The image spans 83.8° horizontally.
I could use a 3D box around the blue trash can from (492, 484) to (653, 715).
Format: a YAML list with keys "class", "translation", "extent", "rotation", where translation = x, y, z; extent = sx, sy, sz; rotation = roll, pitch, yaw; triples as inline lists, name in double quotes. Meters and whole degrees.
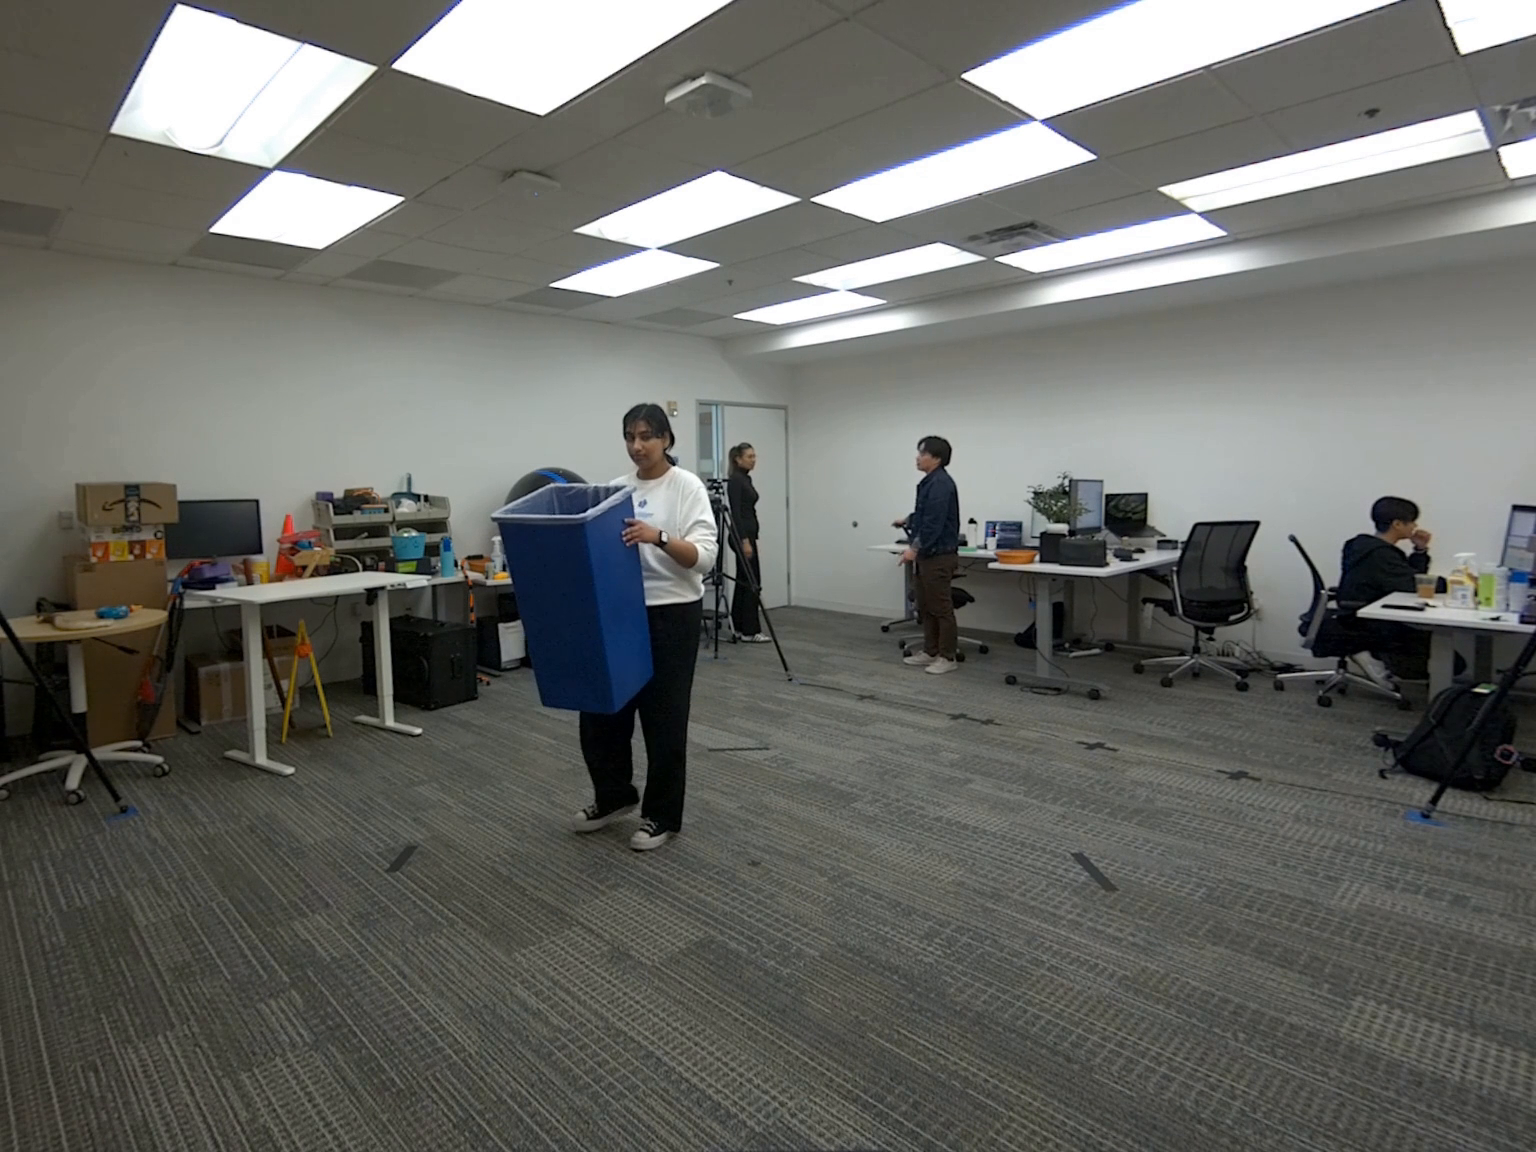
- class: "blue trash can"
  translation: [-0.643, 0.078, 2.939]
  extent: [0.386, 0.701, 0.373]
  rotation: [1, 19, 22]
